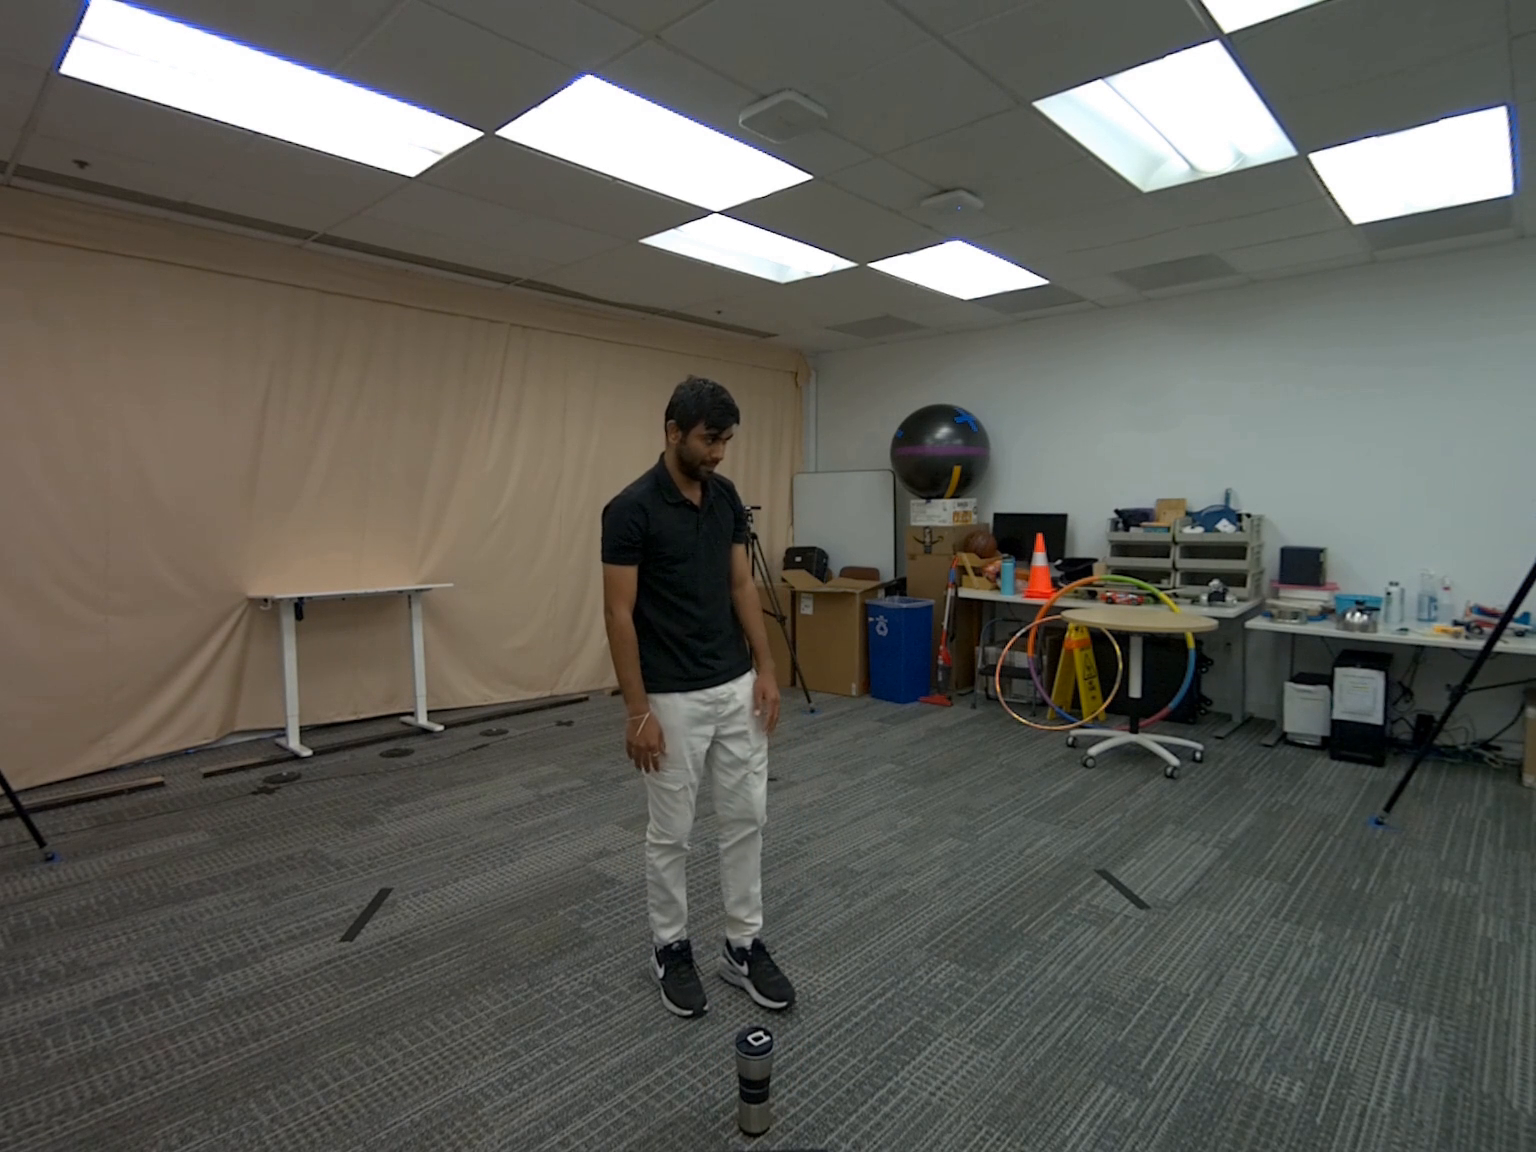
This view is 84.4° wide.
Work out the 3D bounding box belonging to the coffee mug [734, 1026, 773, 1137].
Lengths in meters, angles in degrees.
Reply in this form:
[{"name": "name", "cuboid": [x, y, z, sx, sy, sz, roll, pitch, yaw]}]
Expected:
[{"name": "coffee mug", "cuboid": [-0.014, 1.134, 1.900, 0.090, 0.202, 0.118, -2, 4, 39]}]
